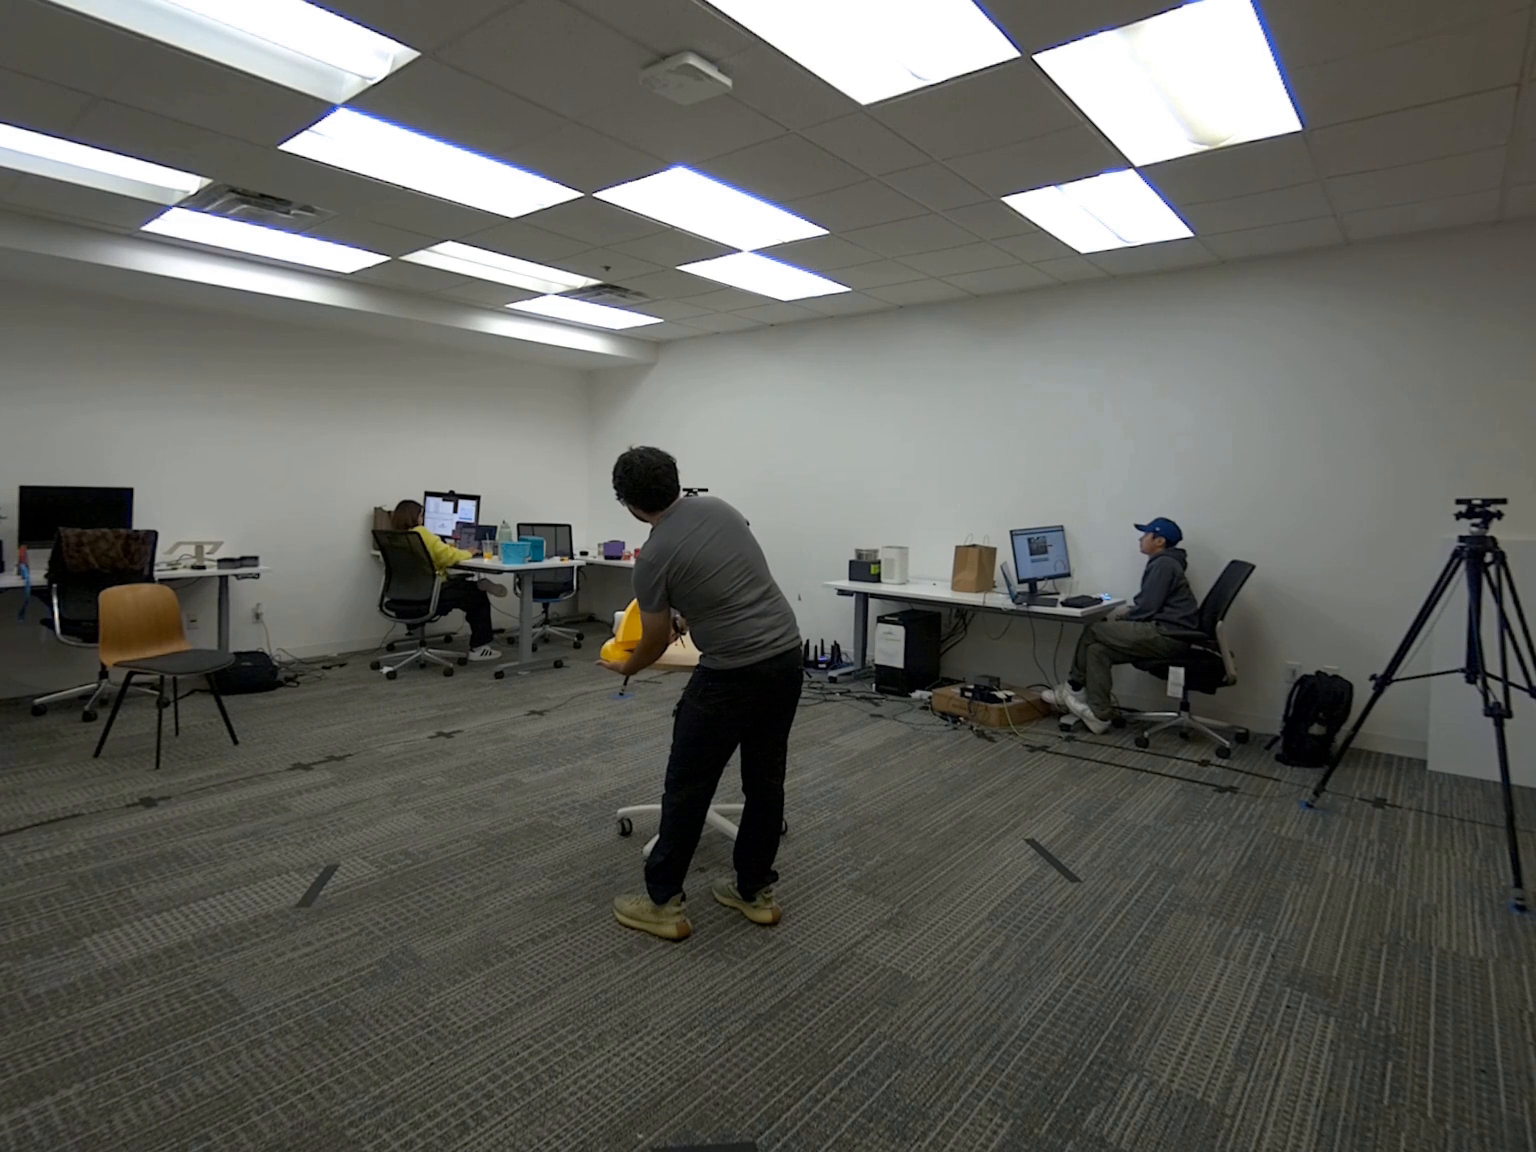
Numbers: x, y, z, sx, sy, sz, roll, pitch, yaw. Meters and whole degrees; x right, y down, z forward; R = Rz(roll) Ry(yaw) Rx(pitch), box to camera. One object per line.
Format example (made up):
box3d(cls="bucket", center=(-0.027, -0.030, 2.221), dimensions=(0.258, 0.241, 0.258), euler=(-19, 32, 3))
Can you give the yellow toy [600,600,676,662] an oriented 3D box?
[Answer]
box3d(cls="yellow toy", center=(-0.507, 0.176, 3.051), dimensions=(0.199, 0.230, 0.200), euler=(-3, 6, -42))
